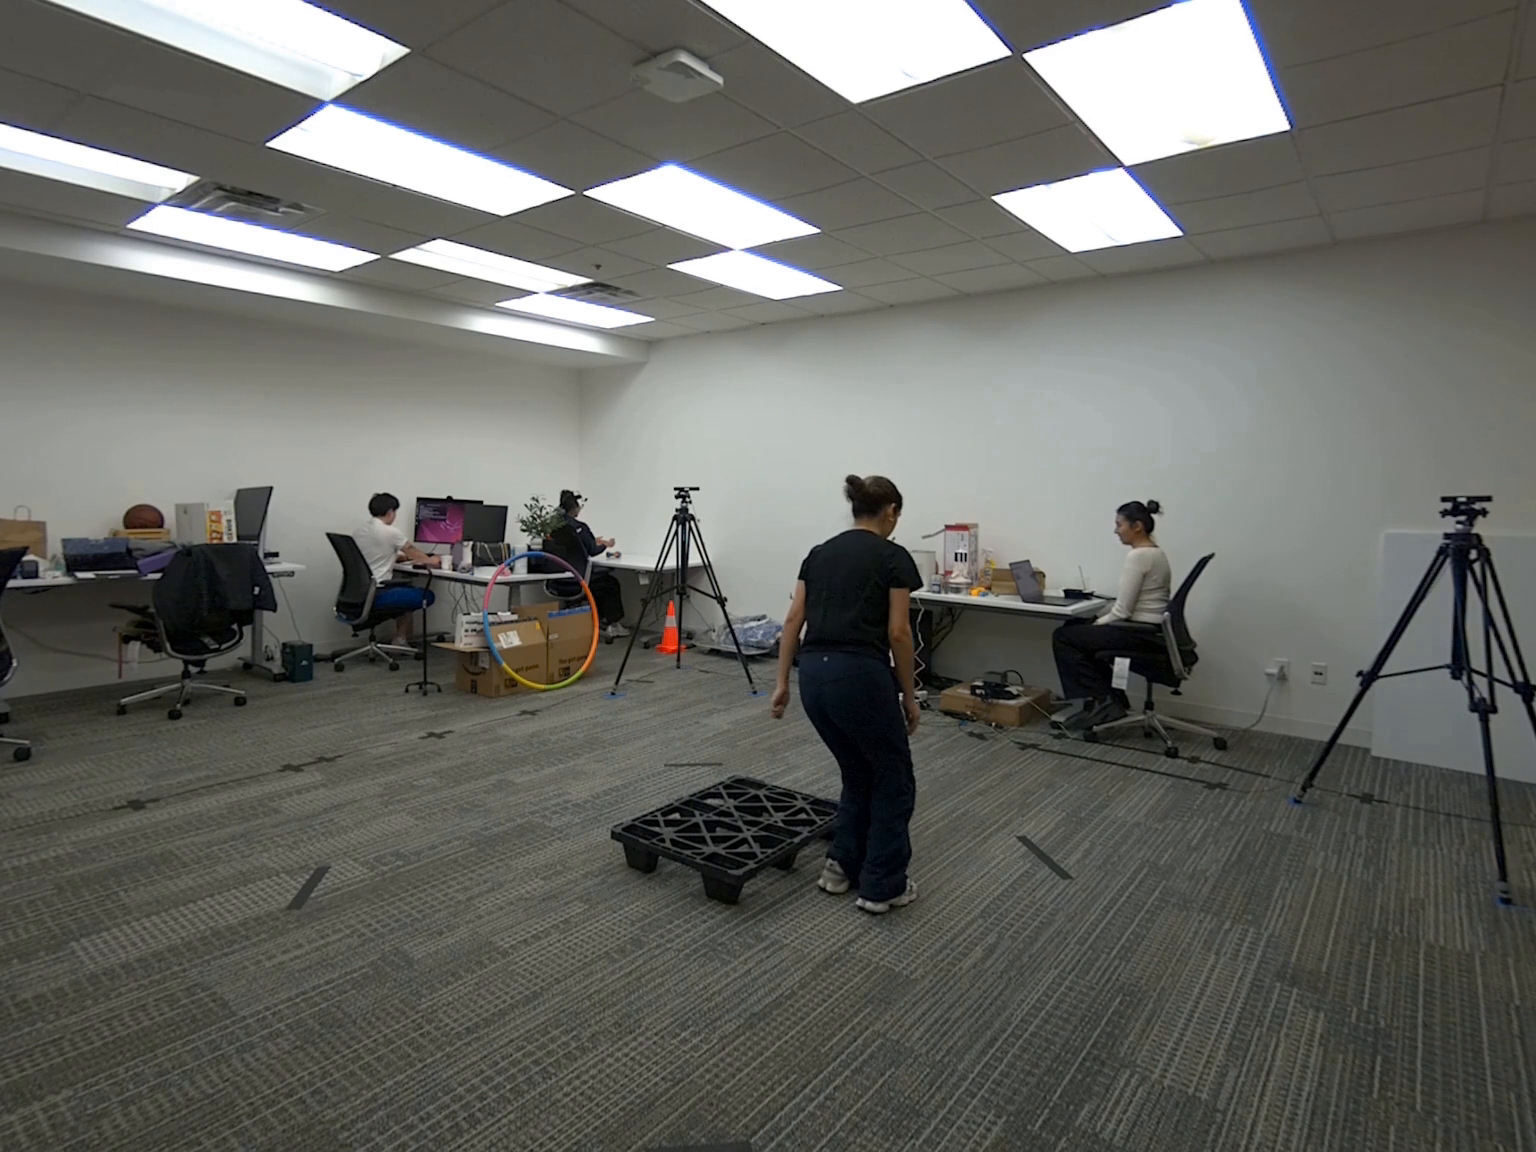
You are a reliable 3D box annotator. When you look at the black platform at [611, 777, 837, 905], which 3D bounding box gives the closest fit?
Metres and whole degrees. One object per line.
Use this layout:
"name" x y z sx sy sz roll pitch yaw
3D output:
"black platform" -0.095 0.985 3.270 0.625 0.143 0.783 5 7 37
